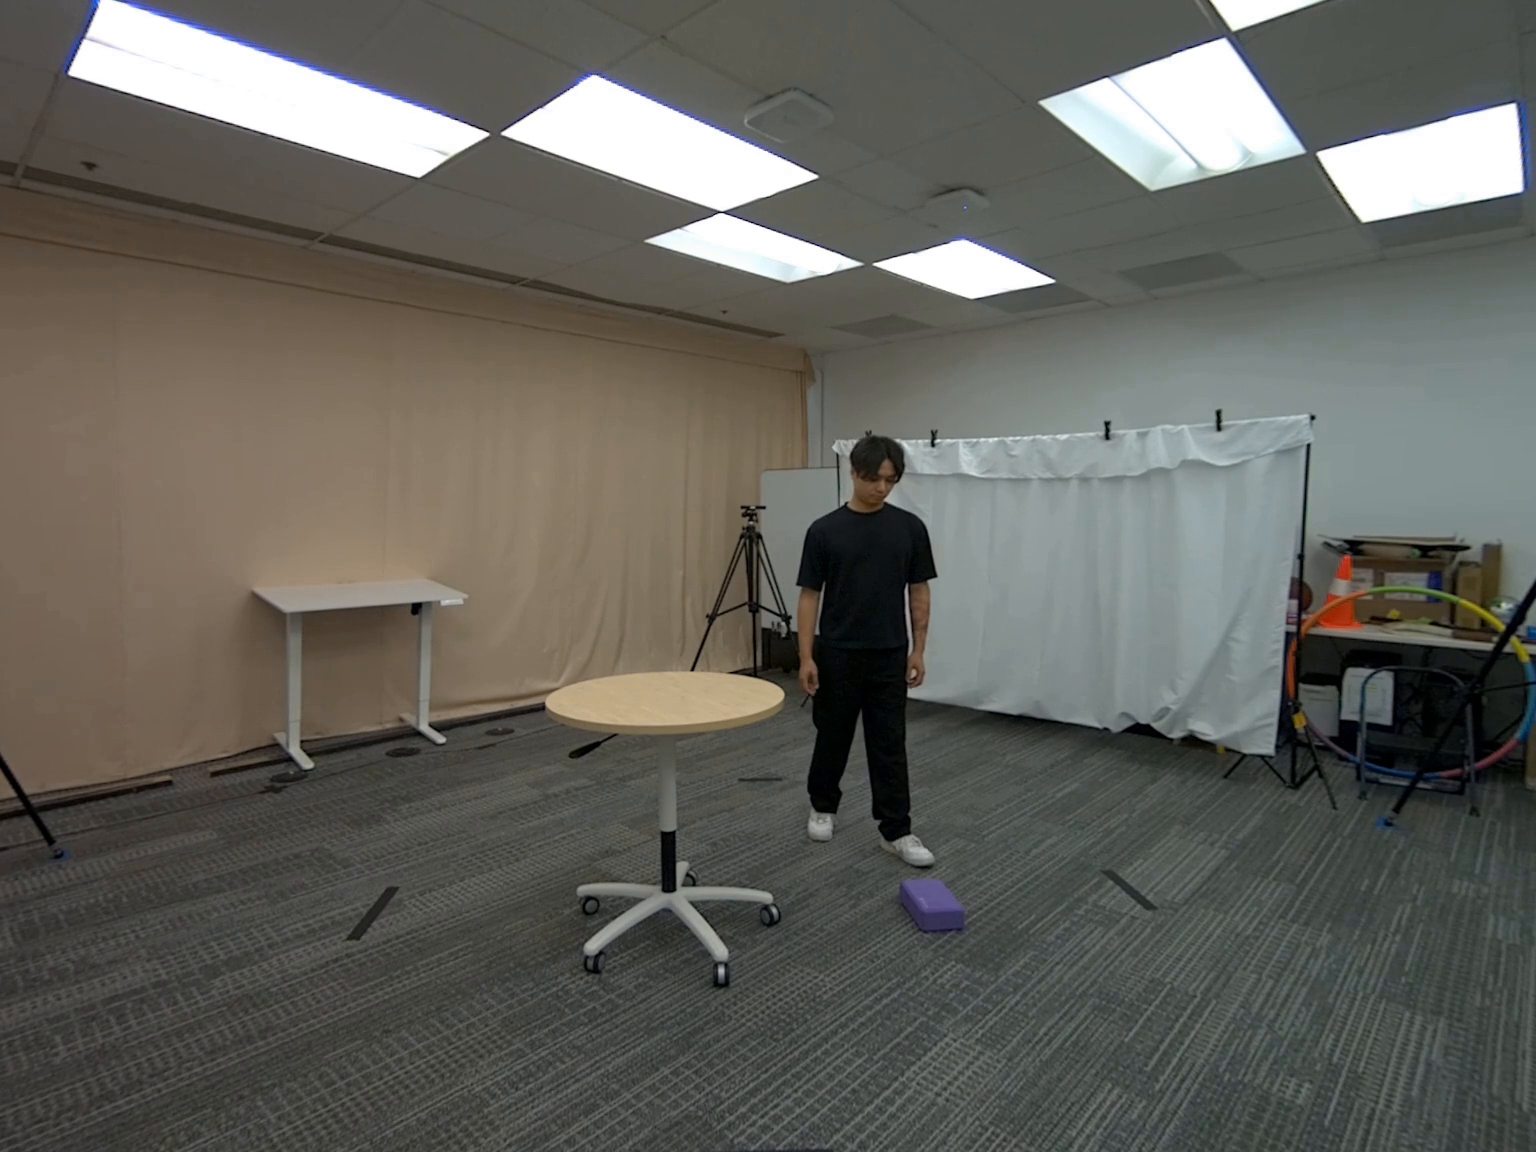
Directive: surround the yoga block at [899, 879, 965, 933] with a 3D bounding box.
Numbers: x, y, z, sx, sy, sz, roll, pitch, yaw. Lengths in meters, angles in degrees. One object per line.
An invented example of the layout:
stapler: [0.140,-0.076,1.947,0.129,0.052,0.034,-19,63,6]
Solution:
yoga block: [0.560,1.116,2.853,0.148,0.076,0.232,-2,6,-9]
